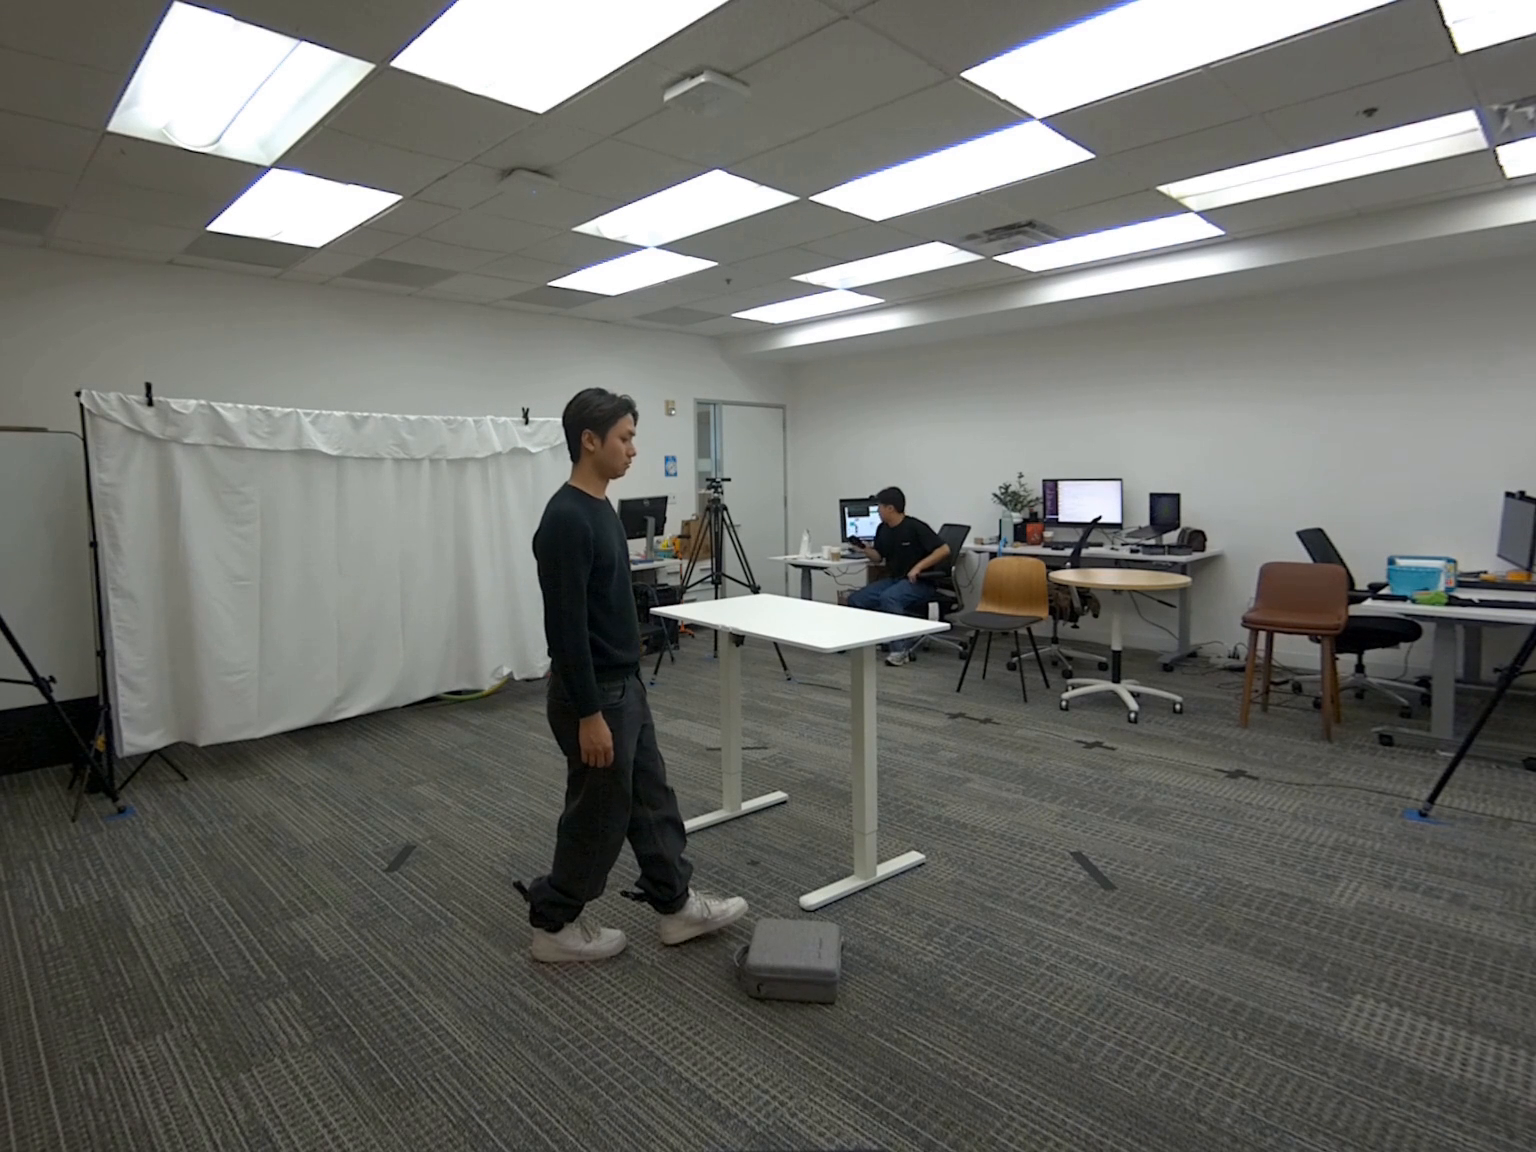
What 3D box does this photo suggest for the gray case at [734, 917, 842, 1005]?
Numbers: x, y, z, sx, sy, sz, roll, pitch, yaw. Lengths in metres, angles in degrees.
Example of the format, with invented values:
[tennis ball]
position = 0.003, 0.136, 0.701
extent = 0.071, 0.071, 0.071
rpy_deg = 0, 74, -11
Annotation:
[gray case]
position = 0.074, 1.061, 2.391
extent = 0.263, 0.104, 0.256
rpy_deg = 0, 7, 9
